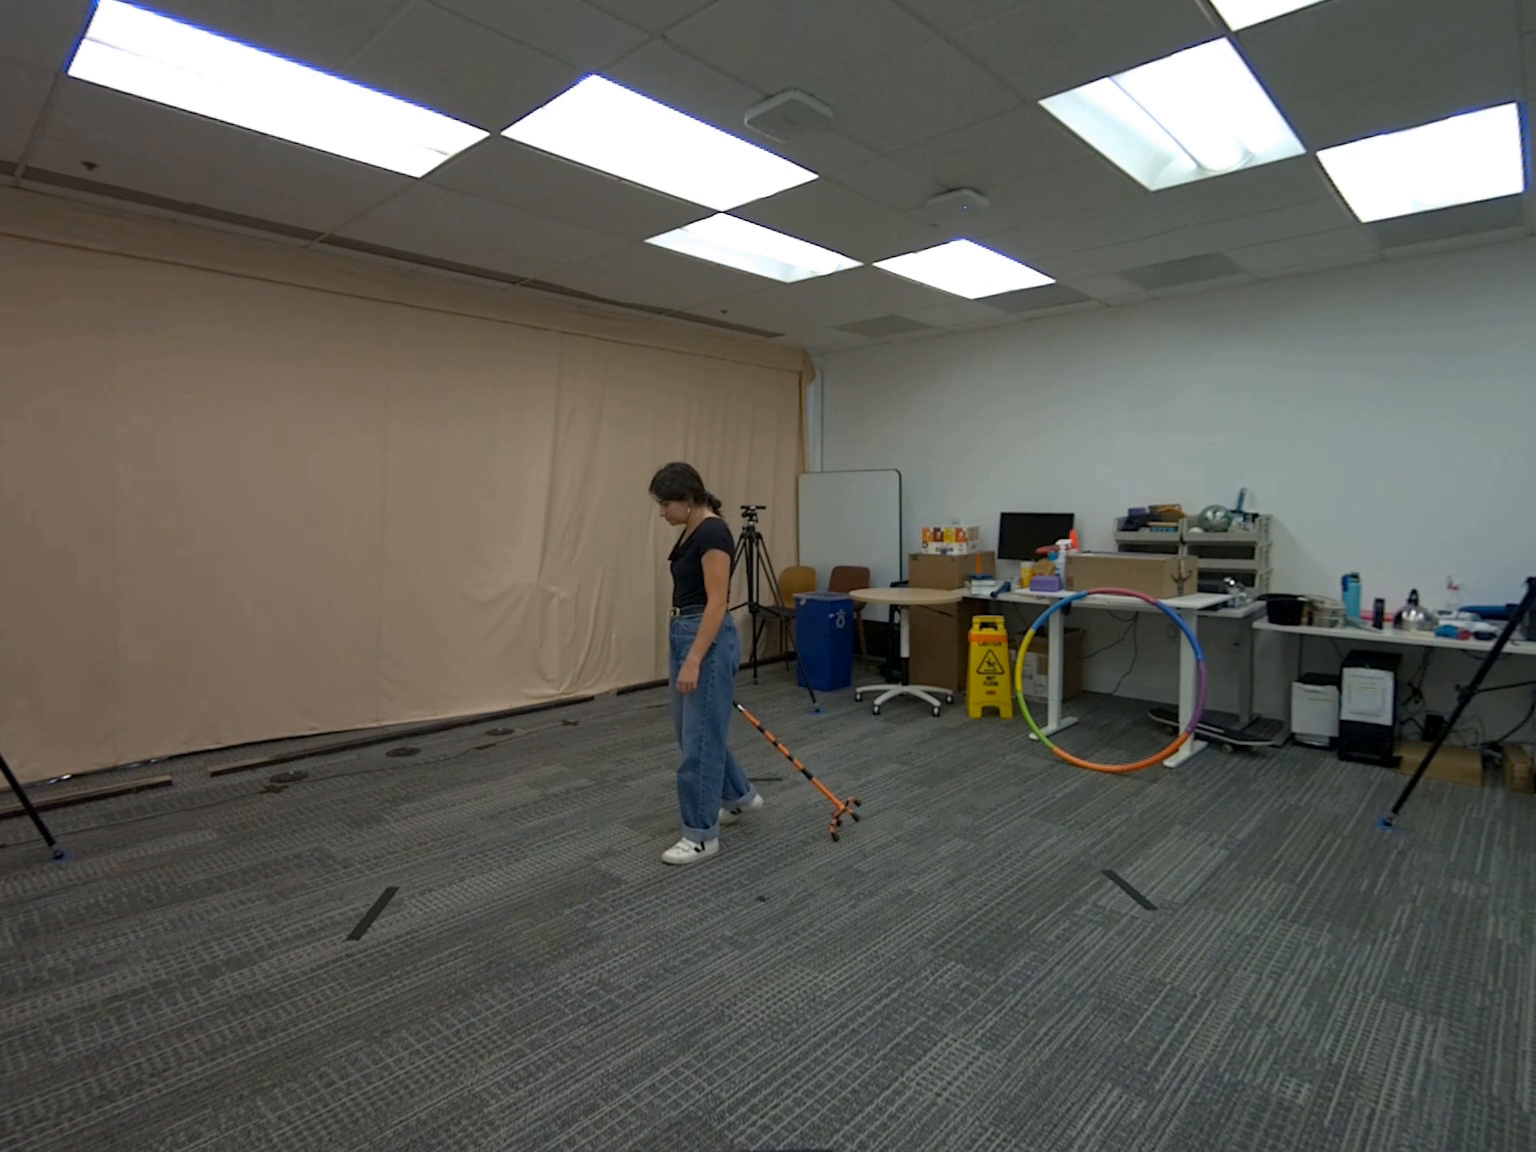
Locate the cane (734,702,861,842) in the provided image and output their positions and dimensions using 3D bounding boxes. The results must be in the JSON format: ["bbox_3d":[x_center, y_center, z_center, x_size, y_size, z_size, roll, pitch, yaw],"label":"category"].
[{"bbox_3d":[0.032,0.734,3.626,0.917,0.152,0.204,44,9,8],"label":"cane"}]
